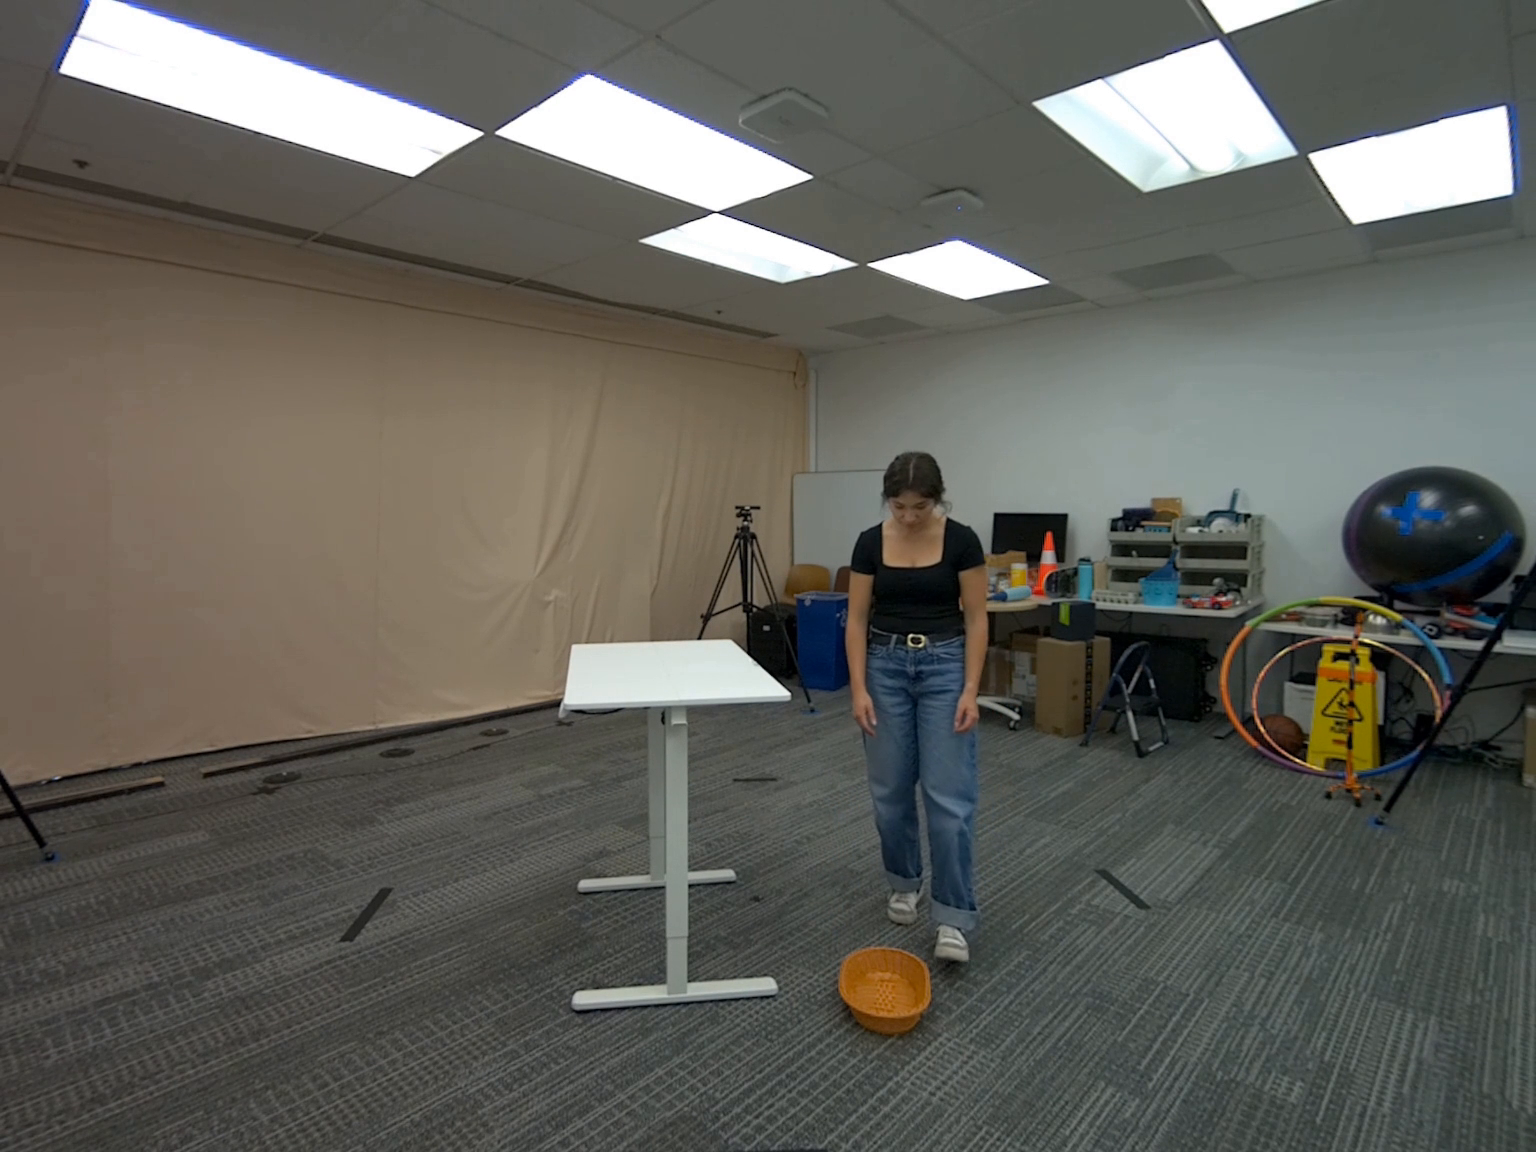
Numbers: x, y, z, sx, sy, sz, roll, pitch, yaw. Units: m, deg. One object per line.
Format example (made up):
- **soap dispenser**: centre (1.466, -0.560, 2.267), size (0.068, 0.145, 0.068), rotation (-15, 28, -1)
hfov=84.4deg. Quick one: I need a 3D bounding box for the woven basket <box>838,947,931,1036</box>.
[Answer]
- **woven basket**: centre (0.332, 1.158, 2.355), size (0.256, 0.073, 0.346), rotation (0, 5, 14)
